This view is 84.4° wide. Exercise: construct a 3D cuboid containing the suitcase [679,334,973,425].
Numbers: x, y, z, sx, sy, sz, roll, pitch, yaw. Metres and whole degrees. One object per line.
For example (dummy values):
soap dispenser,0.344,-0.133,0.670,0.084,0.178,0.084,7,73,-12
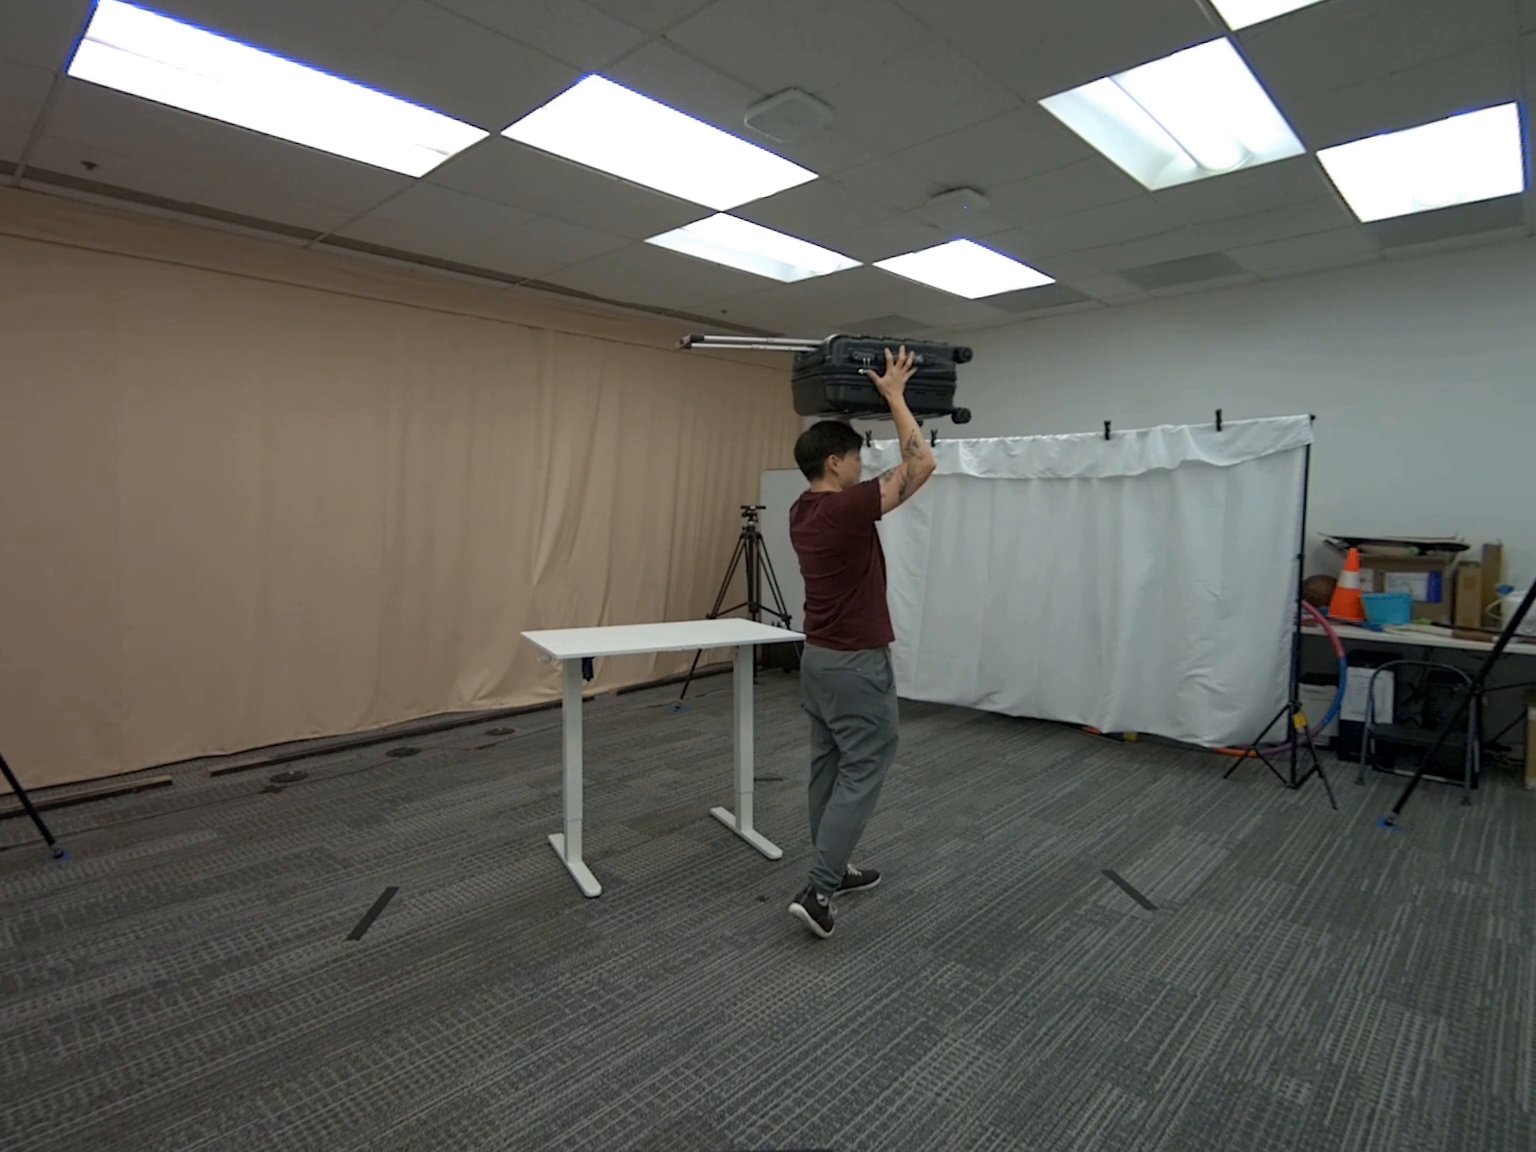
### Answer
suitcase,0.192,-0.675,2.849,0.959,0.256,0.393,0,6,-20
